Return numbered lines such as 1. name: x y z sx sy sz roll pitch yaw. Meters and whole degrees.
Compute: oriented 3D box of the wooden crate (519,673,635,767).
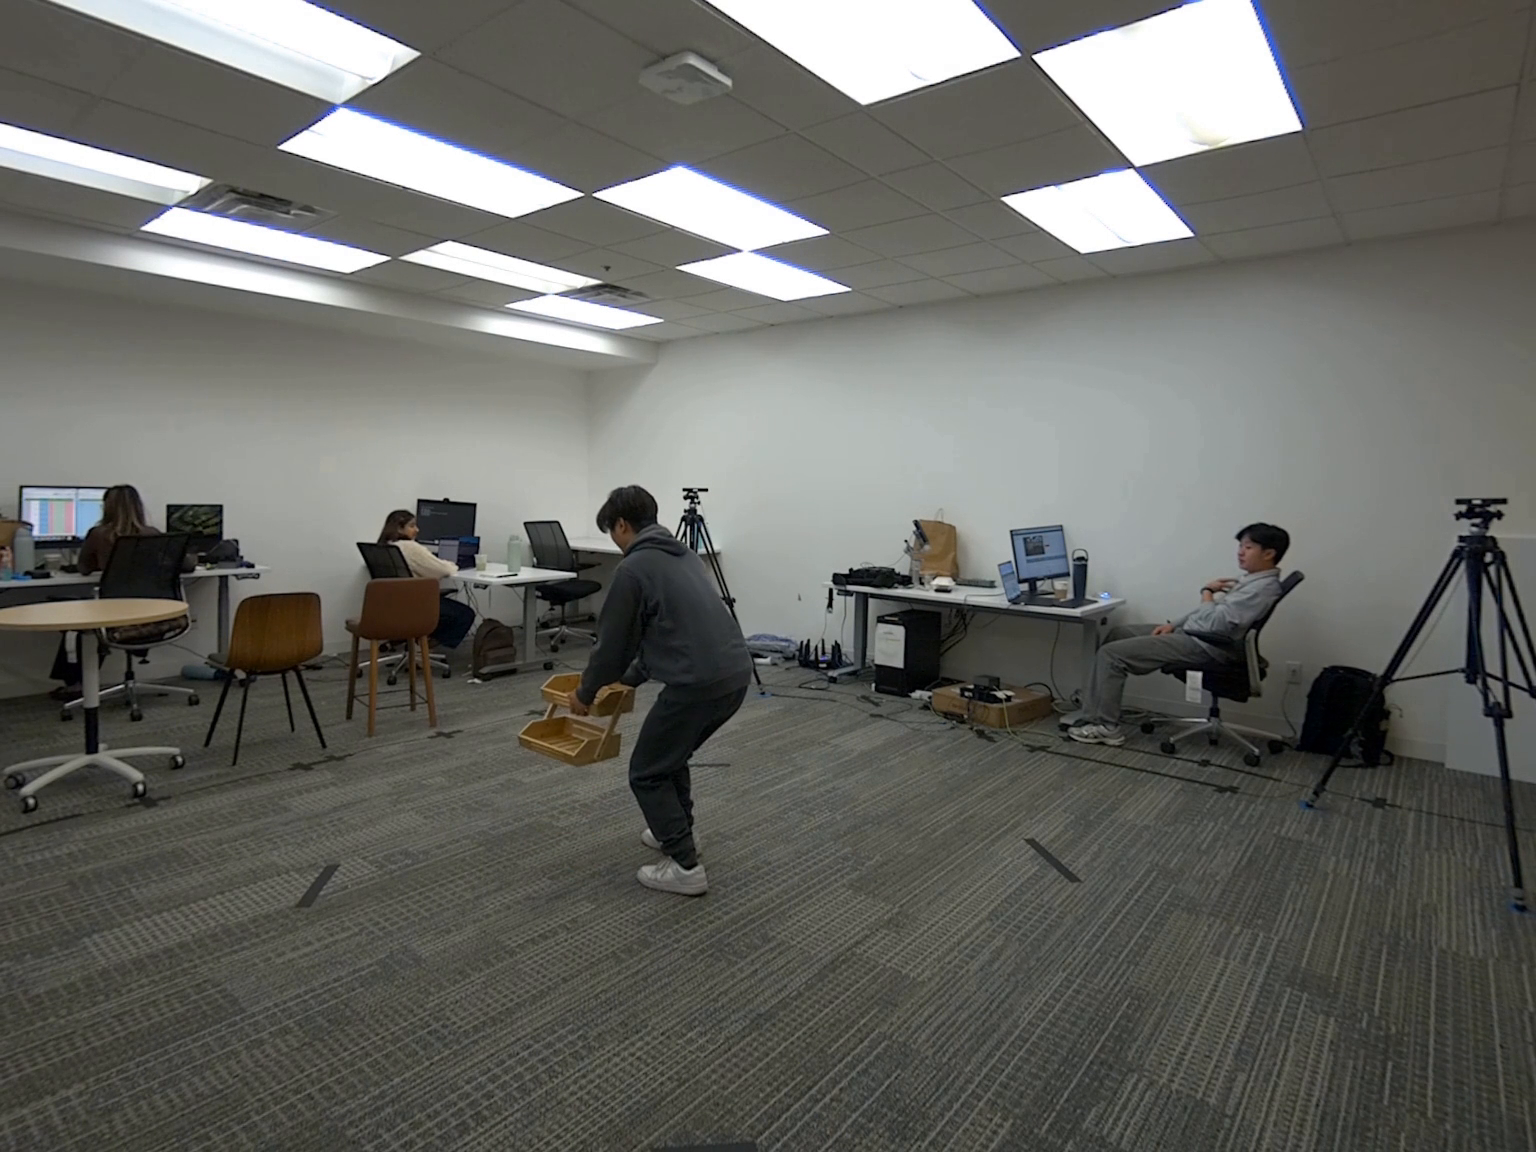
1. wooden crate: -0.745 0.535 3.252 0.335 0.273 0.293 8 2 32
